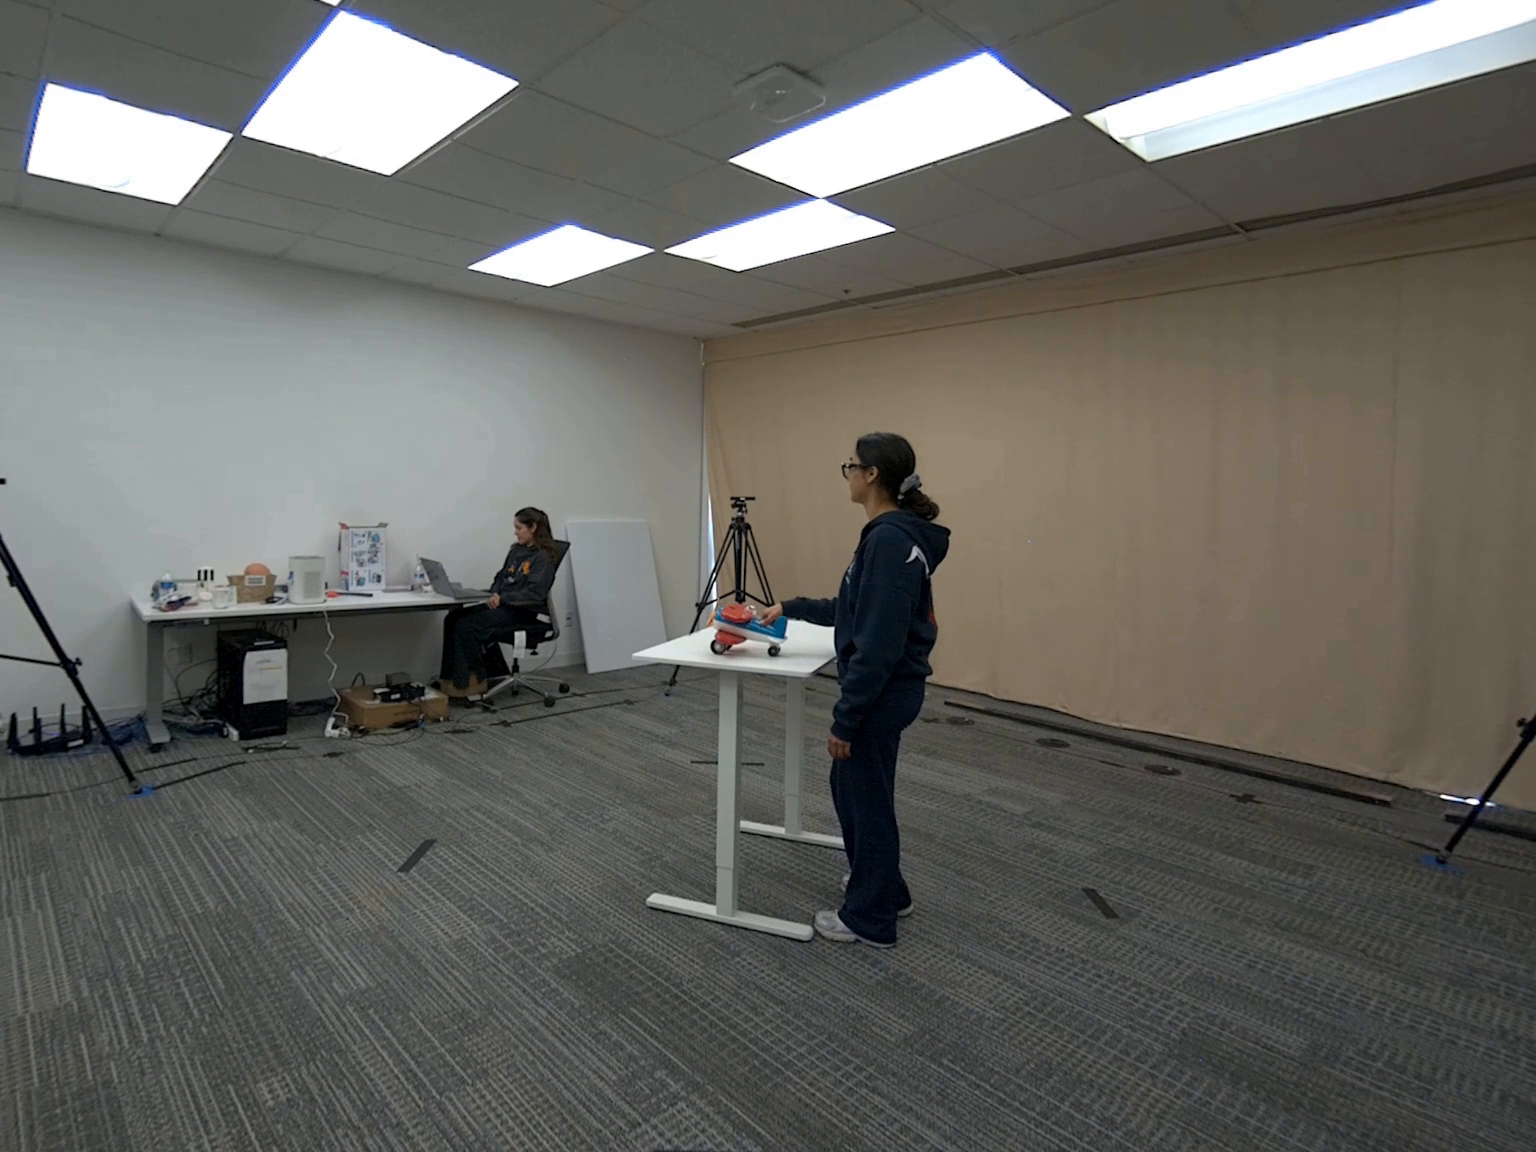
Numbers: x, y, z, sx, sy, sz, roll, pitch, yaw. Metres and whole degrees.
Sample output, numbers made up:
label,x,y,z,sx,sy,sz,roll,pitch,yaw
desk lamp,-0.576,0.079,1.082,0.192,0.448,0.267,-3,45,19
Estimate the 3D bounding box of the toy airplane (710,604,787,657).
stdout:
label,x,y,z,sx,sy,sz,roll,pitch,yaw
toy airplane,-0.063,0.180,2.800,0.256,0.156,0.255,-2,5,-16
